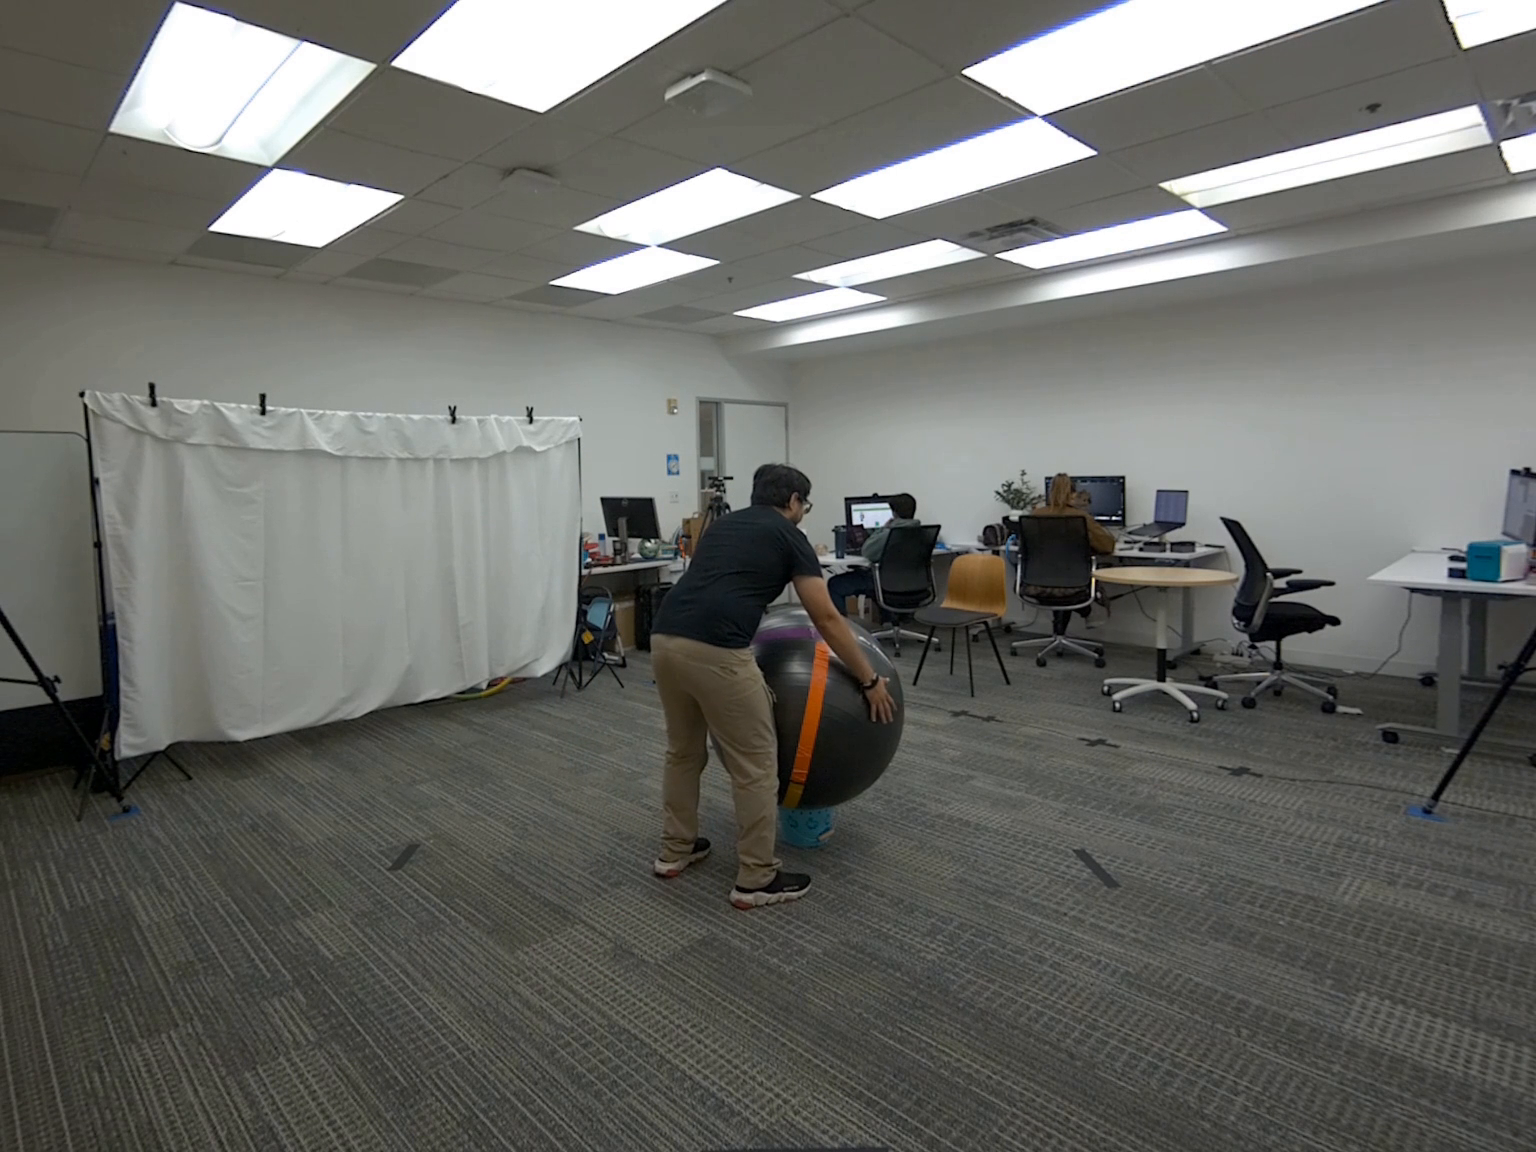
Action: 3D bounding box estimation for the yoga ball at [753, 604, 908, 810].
[{"bbox_3d":[0.136,0.507,3.282,0.757,0.755,0.762,-1,5,-2],"label":"yoga ball"}]
